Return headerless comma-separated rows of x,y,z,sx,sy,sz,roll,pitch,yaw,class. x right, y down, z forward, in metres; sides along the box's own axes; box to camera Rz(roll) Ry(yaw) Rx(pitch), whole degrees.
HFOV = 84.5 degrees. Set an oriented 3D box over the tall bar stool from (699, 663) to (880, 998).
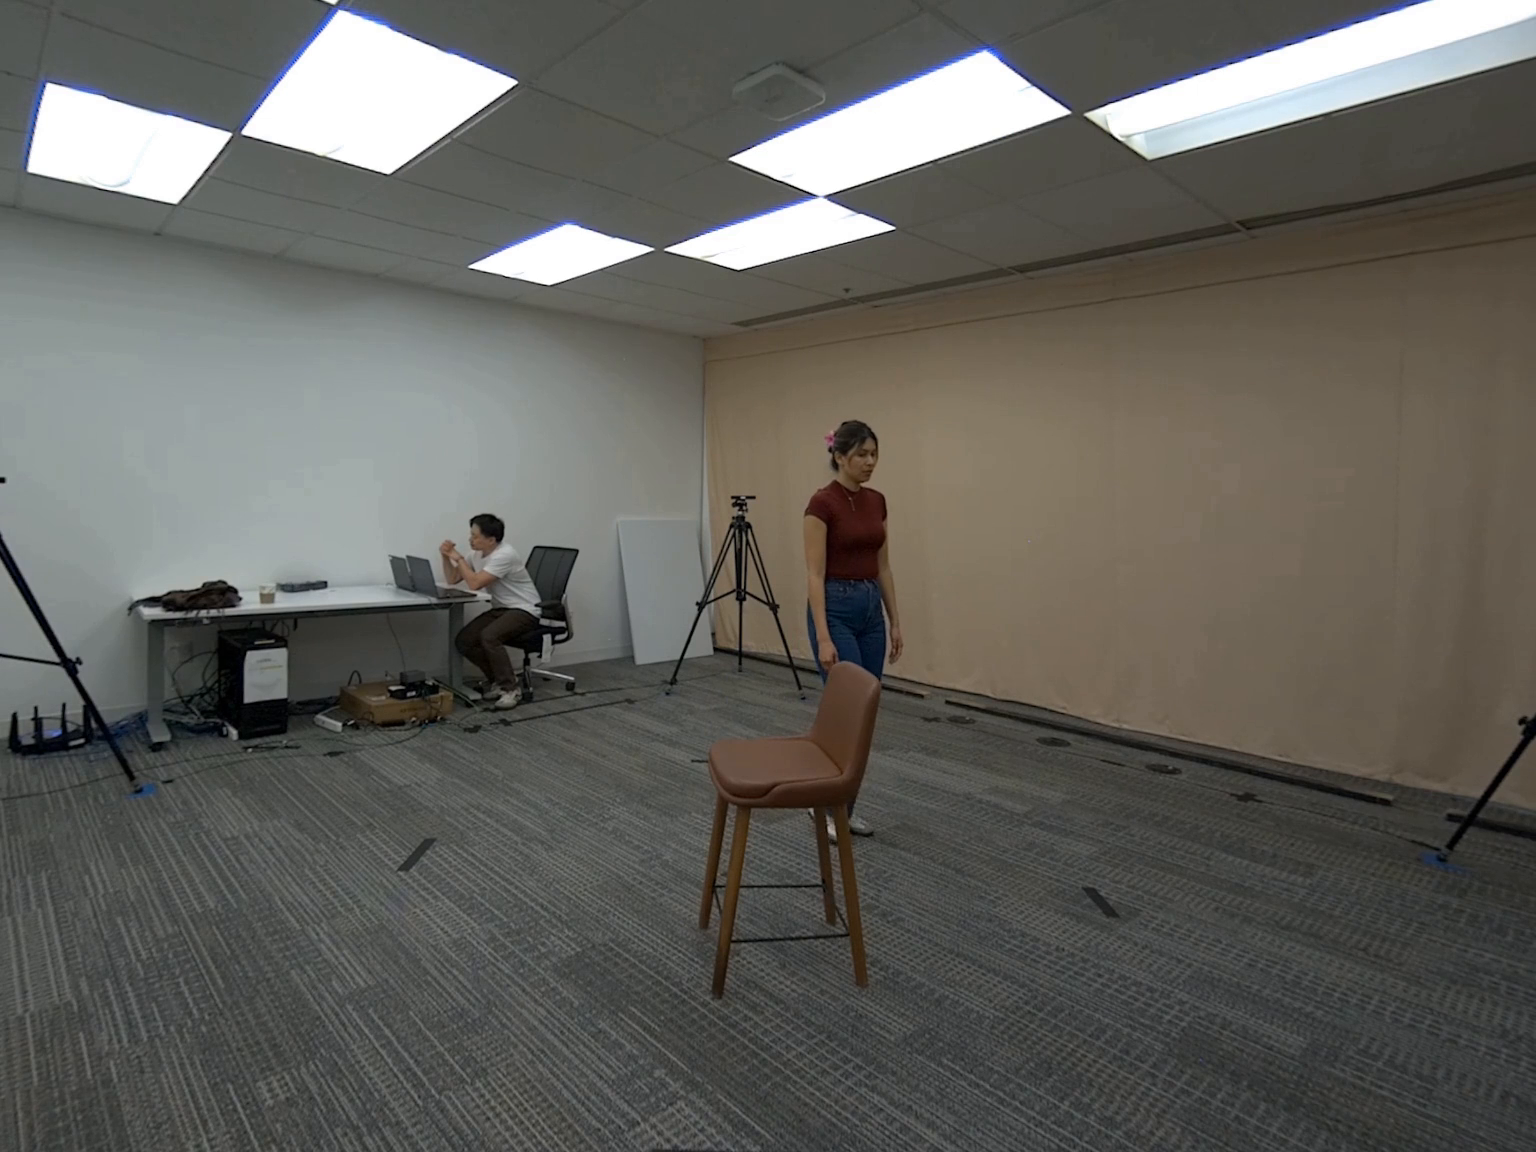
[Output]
0.046,0.729,2.532,0.464,0.887,0.461,2,4,-10,tall bar stool
